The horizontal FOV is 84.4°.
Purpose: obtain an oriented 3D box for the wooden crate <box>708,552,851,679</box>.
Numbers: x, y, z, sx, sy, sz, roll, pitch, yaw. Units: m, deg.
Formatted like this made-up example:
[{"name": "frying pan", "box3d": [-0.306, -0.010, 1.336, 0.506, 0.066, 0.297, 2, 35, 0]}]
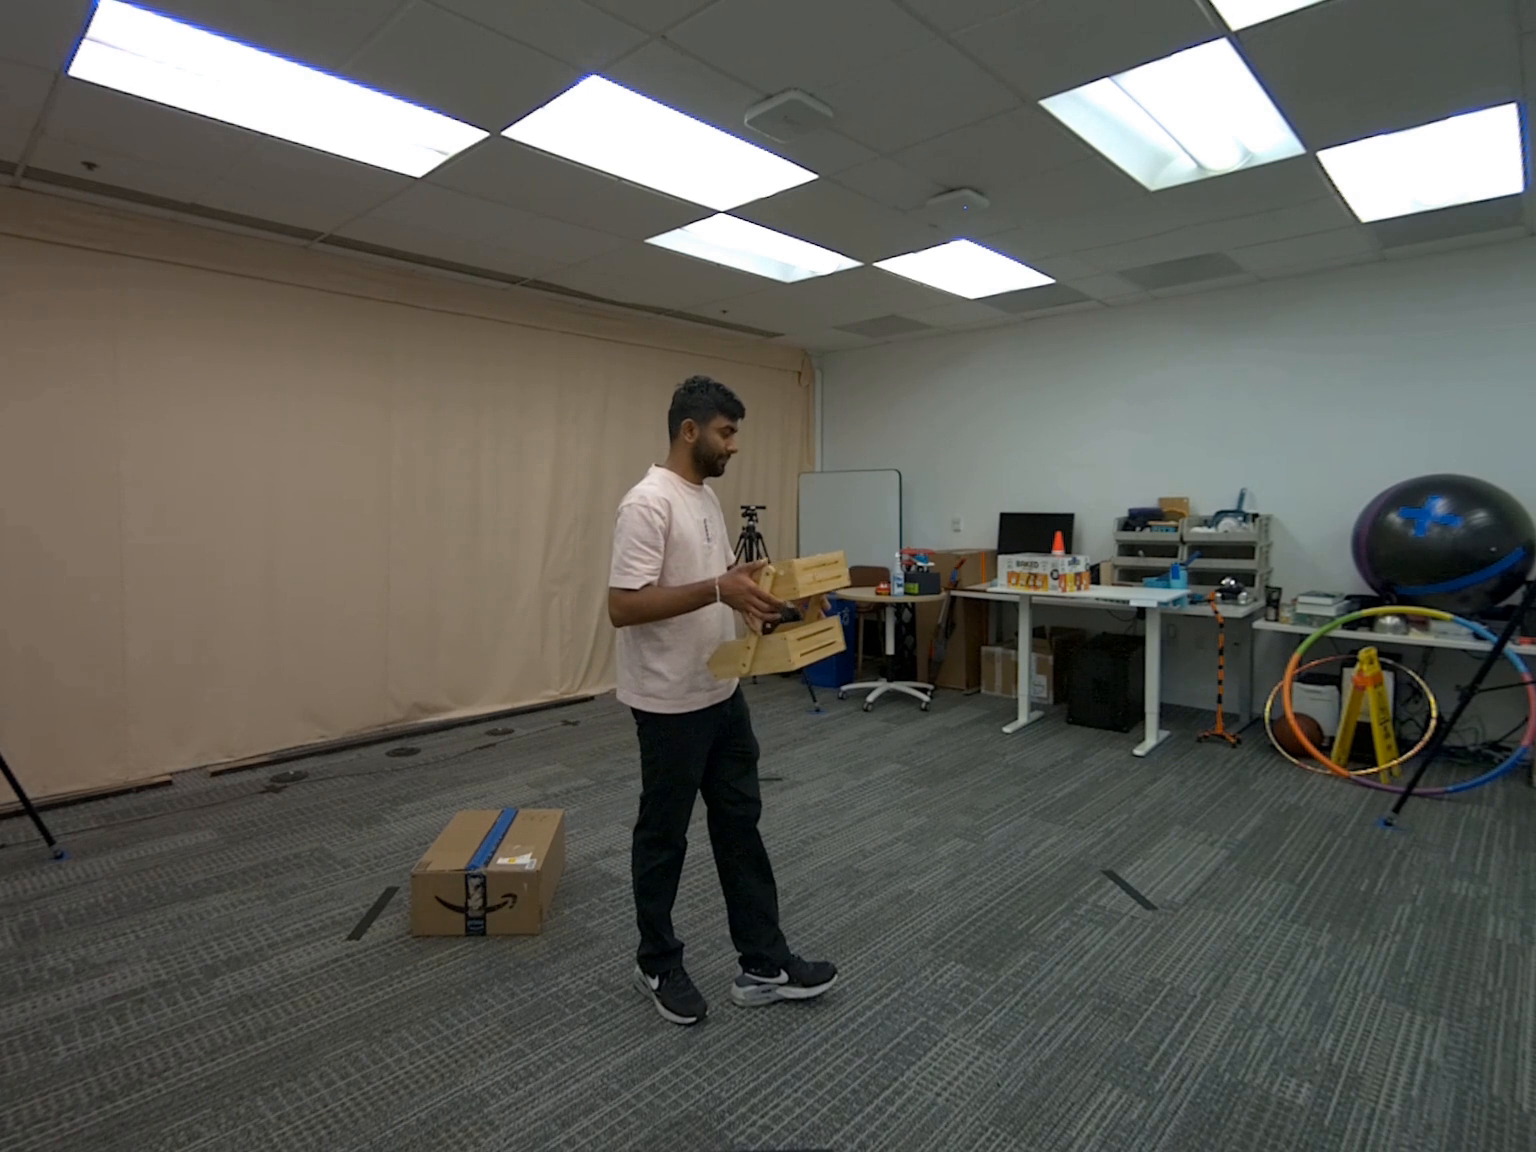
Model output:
[{"name": "wooden crate", "box3d": [0.027, 0.095, 2.190, 0.309, 0.274, 0.316, -11, -1, 30]}]
